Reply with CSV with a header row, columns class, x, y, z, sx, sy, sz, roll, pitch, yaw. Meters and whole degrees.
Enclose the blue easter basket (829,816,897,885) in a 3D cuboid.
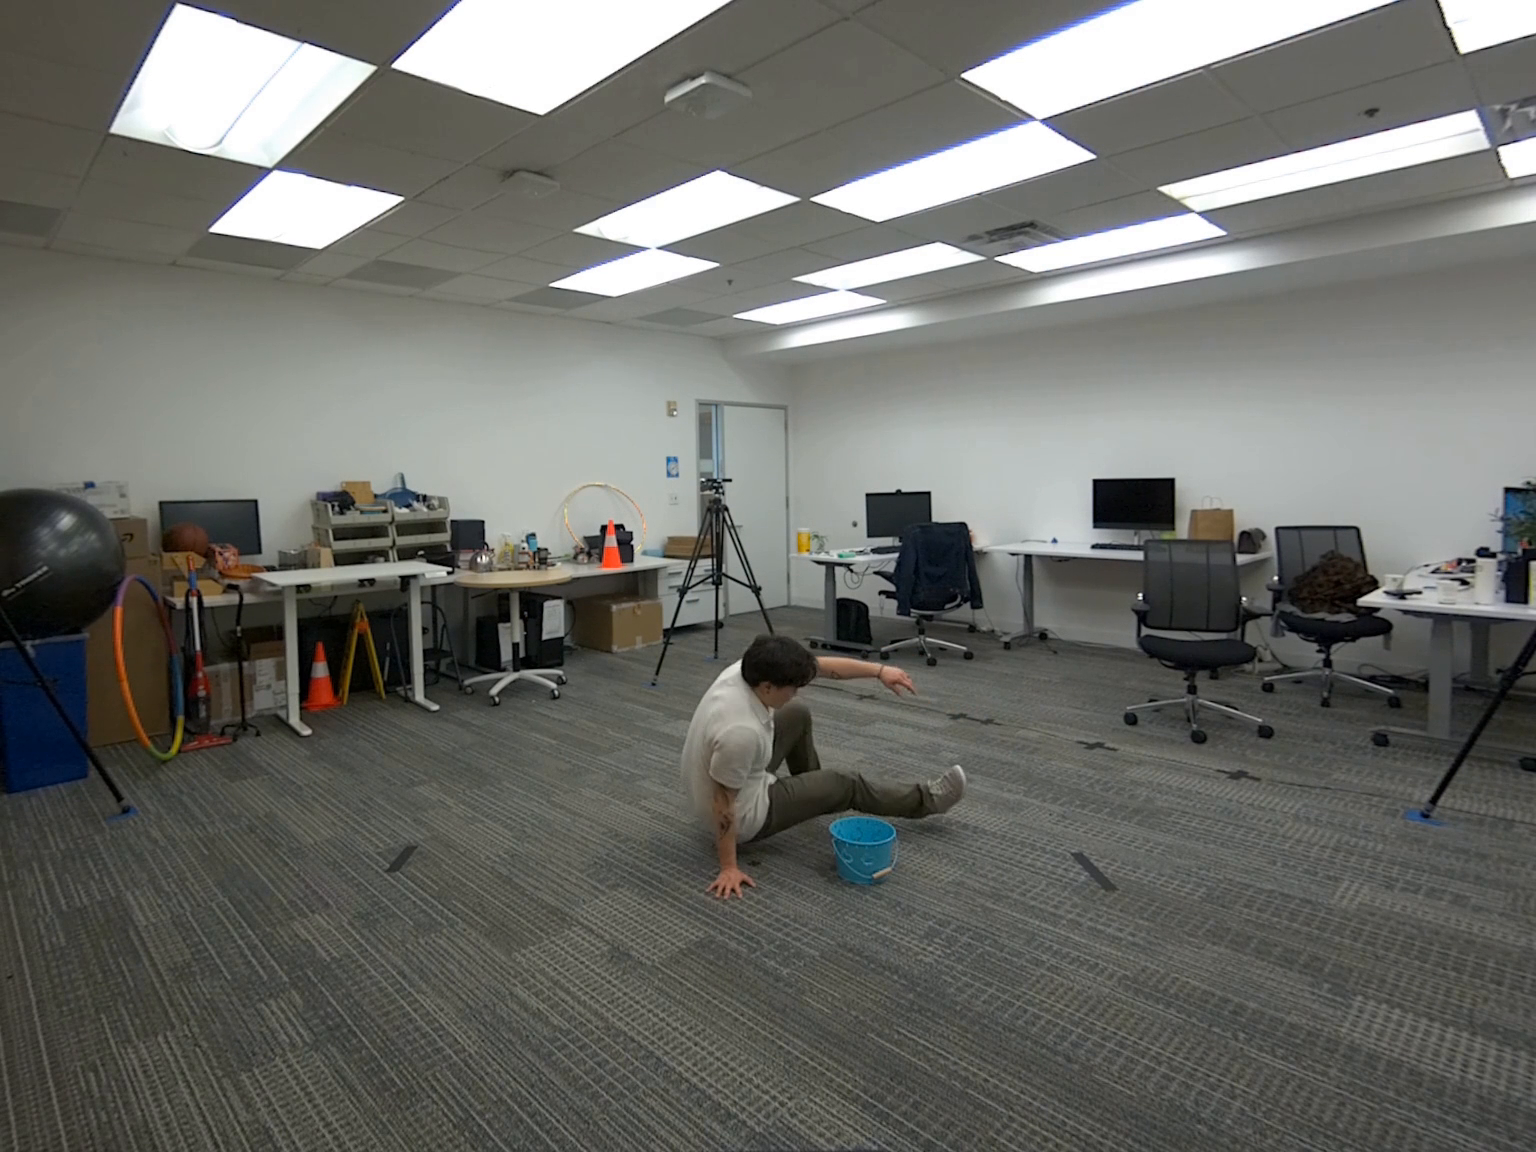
class,x,y,z,sx,sy,sz,roll,pitch,yaw
blue easter basket,0.326,0.967,3.011,0.243,0.155,0.245,-2,5,-2
